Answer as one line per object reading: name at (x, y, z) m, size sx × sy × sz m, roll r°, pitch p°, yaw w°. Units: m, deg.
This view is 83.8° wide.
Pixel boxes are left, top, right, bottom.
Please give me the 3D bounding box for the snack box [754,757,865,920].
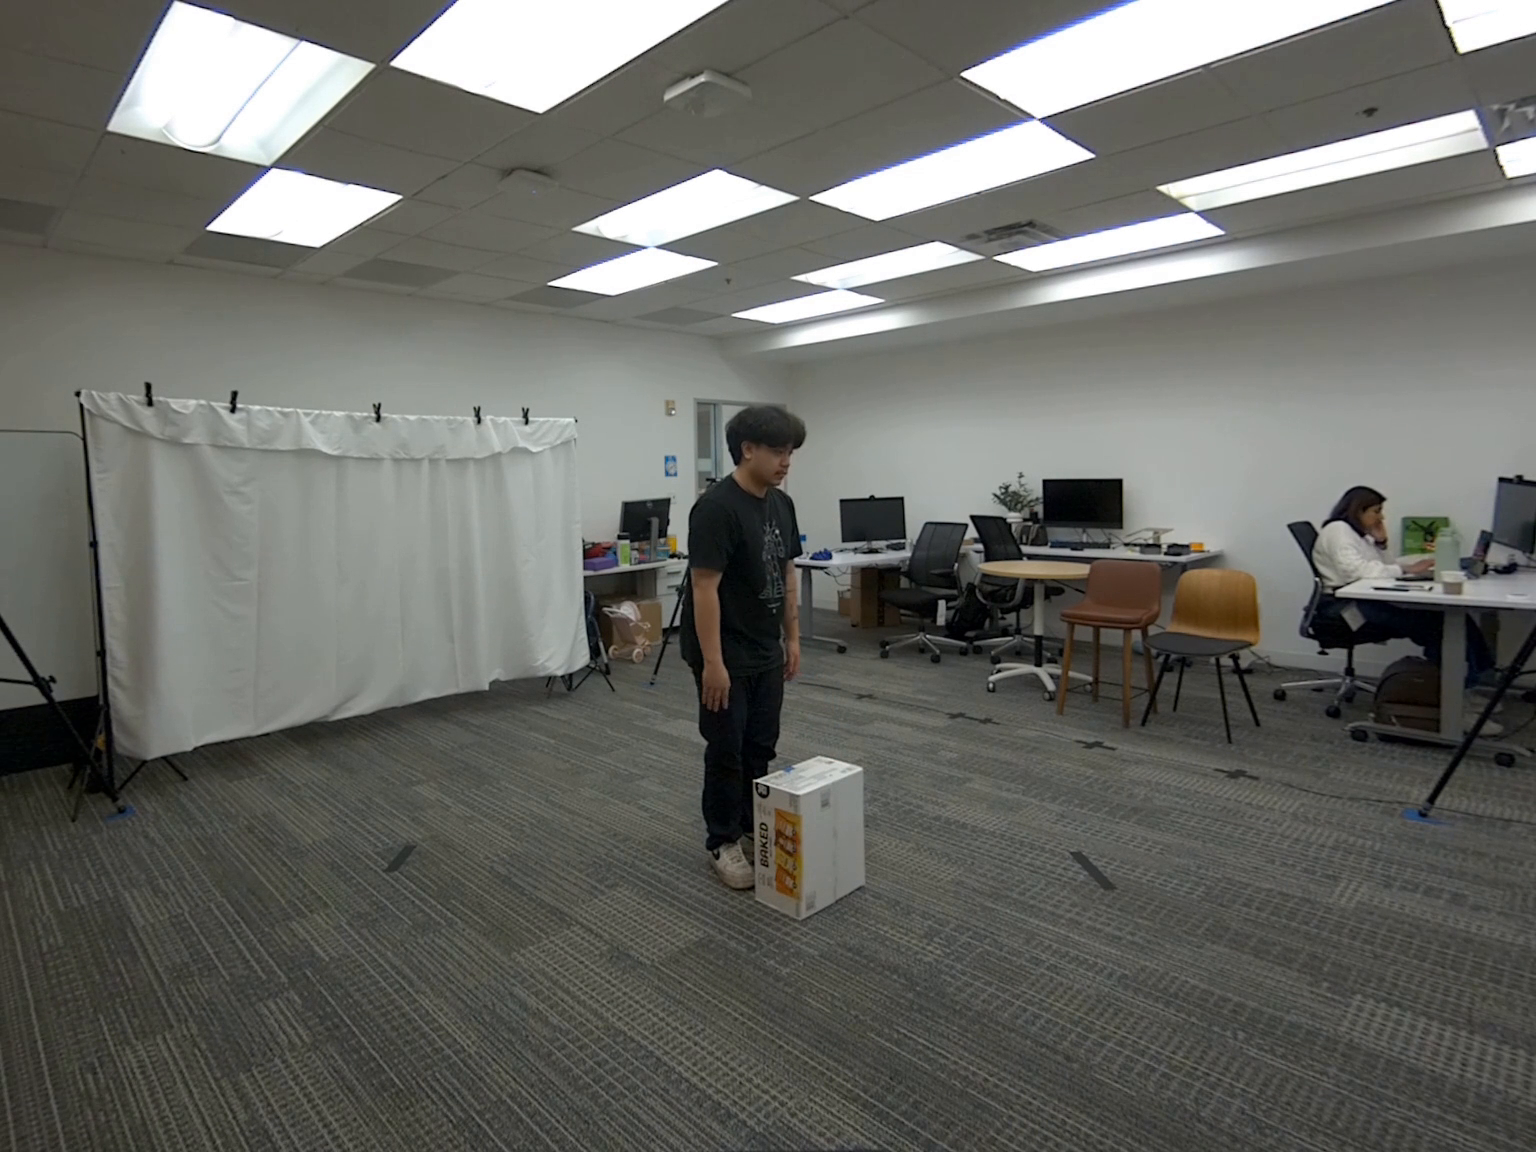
snack box at (0.135, 0.862, 2.866) m, size 0.212 × 0.404 × 0.331 m, roll 3°, pitch 6°, yaw 44°
